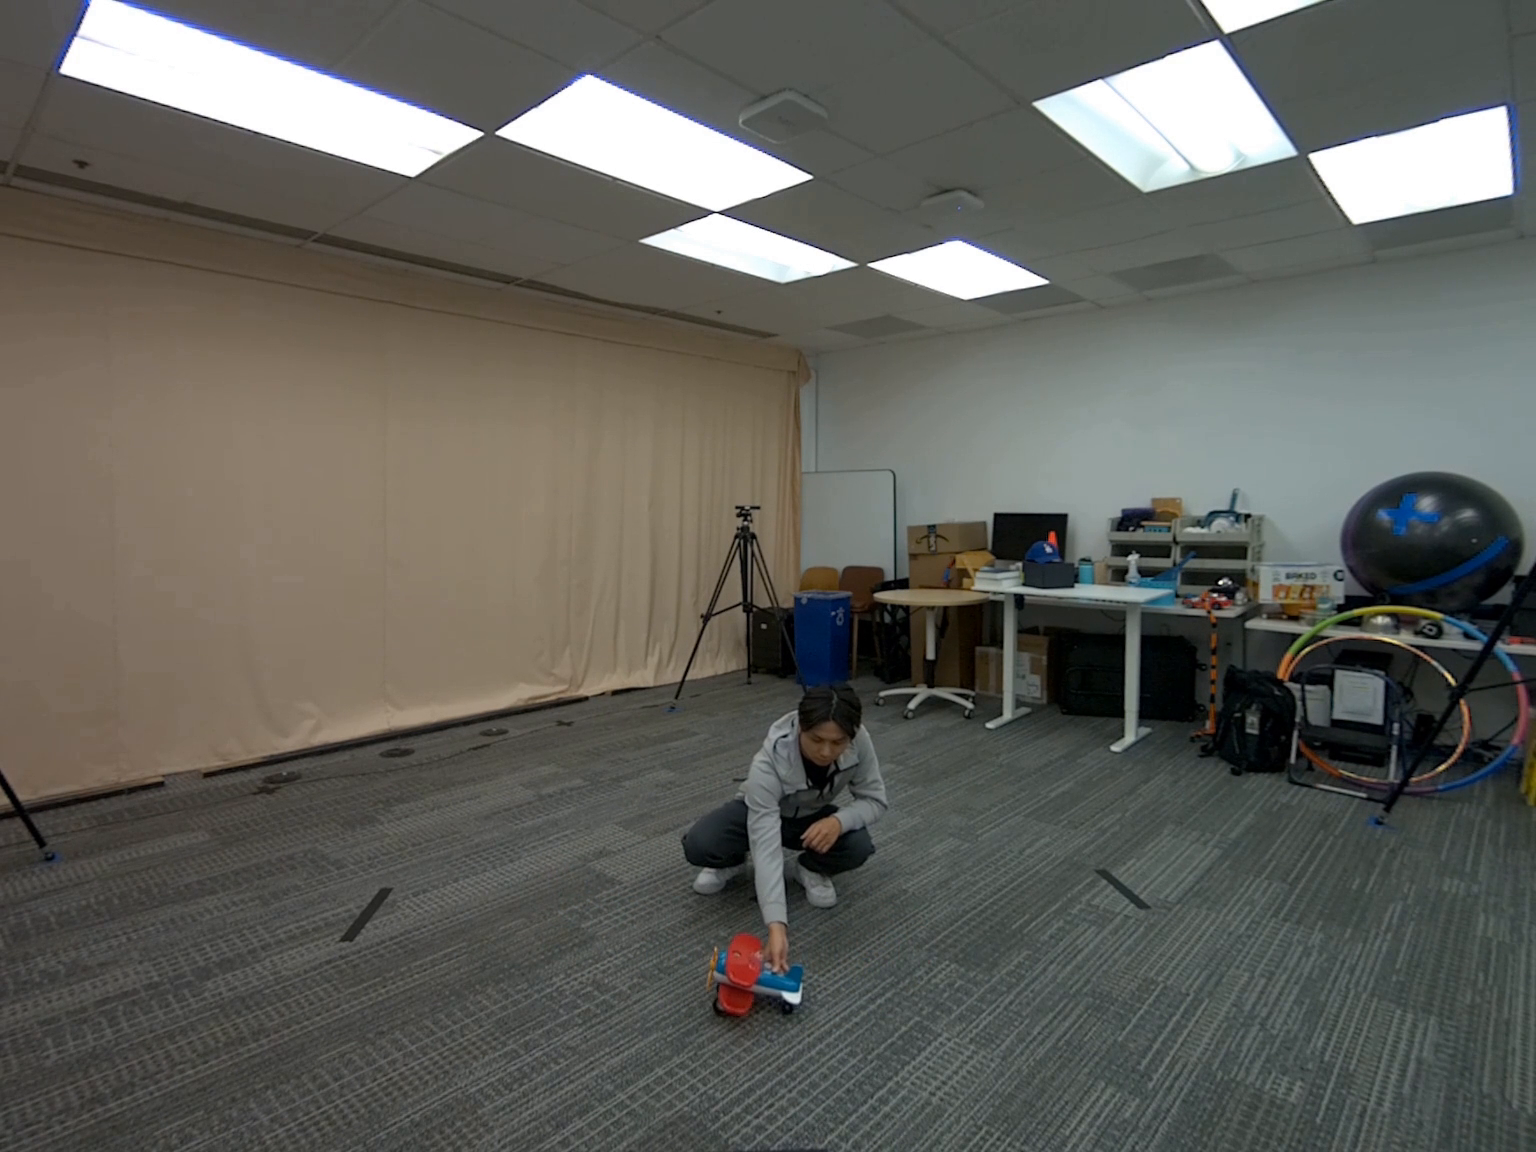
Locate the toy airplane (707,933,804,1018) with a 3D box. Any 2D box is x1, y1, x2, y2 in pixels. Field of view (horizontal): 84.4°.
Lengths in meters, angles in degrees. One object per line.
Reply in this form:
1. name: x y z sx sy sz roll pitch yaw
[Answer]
1. toy airplane: -0.035 1.122 2.357 0.254 0.156 0.257 -3 4 -22
